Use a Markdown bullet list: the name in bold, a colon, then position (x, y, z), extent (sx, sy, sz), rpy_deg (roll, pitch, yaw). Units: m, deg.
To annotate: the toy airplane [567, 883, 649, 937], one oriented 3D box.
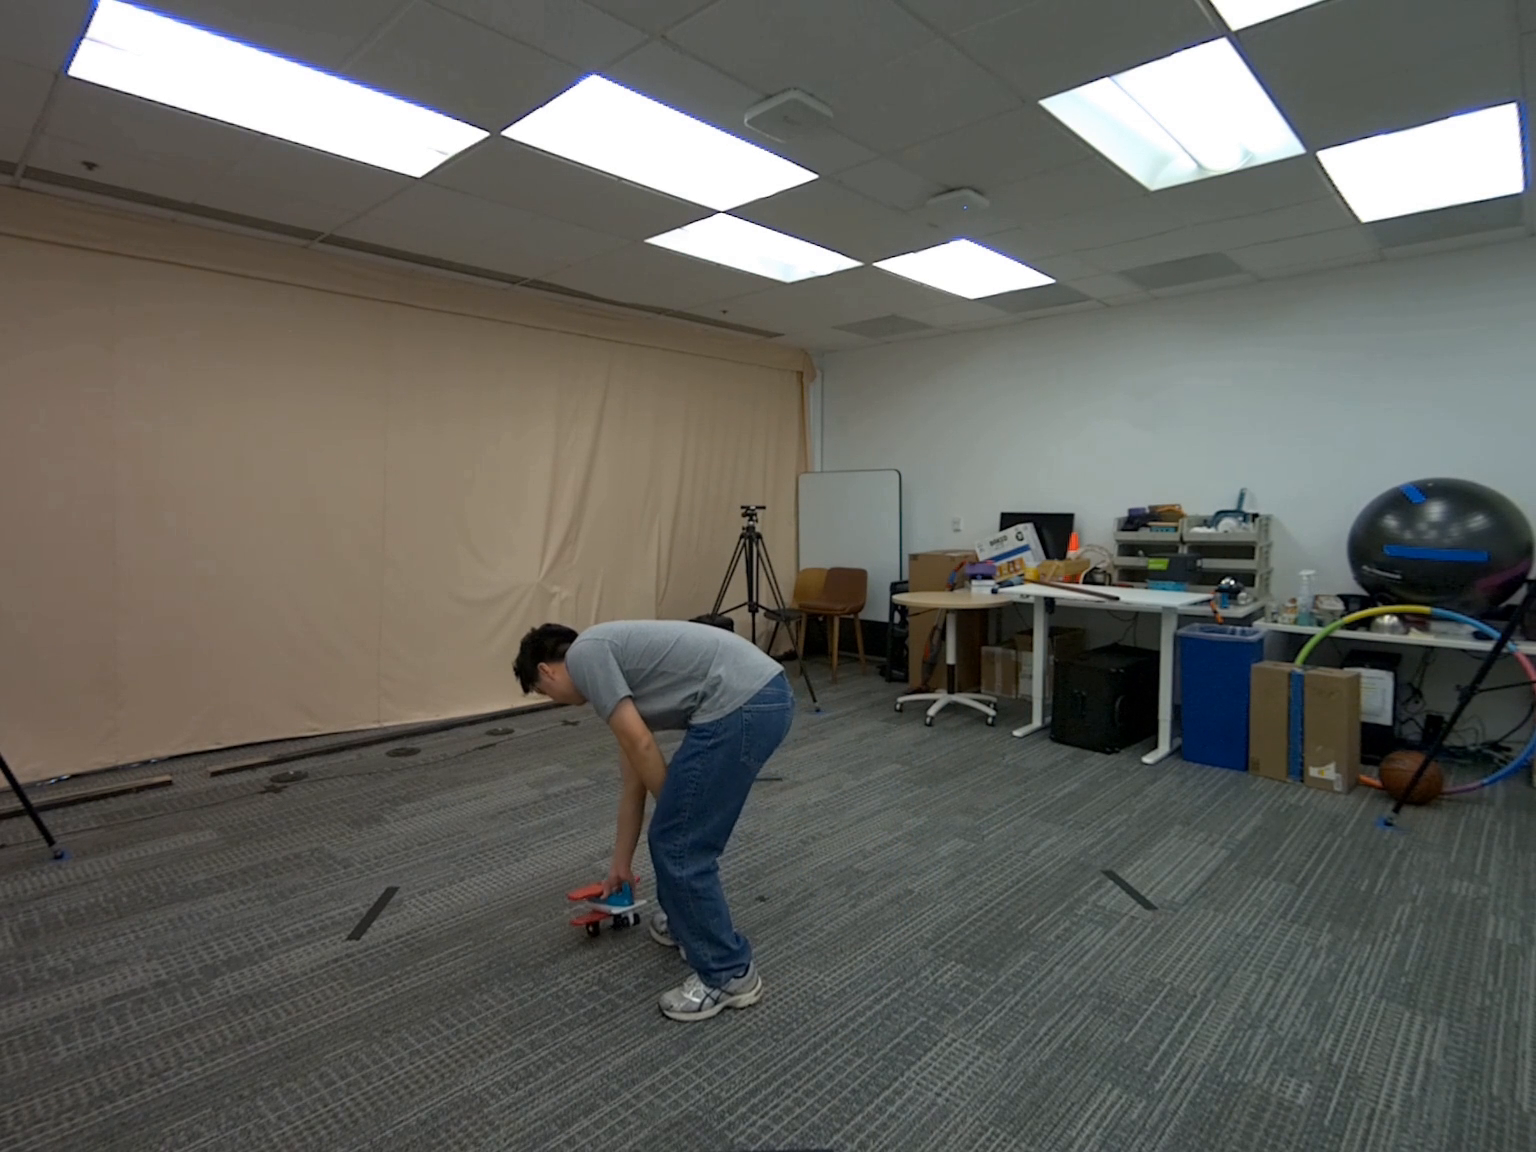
- **toy airplane**: position (-0.486, 1.064, 2.722), extent (0.262, 0.159, 0.244), rpy_deg (-25, -18, 18)
